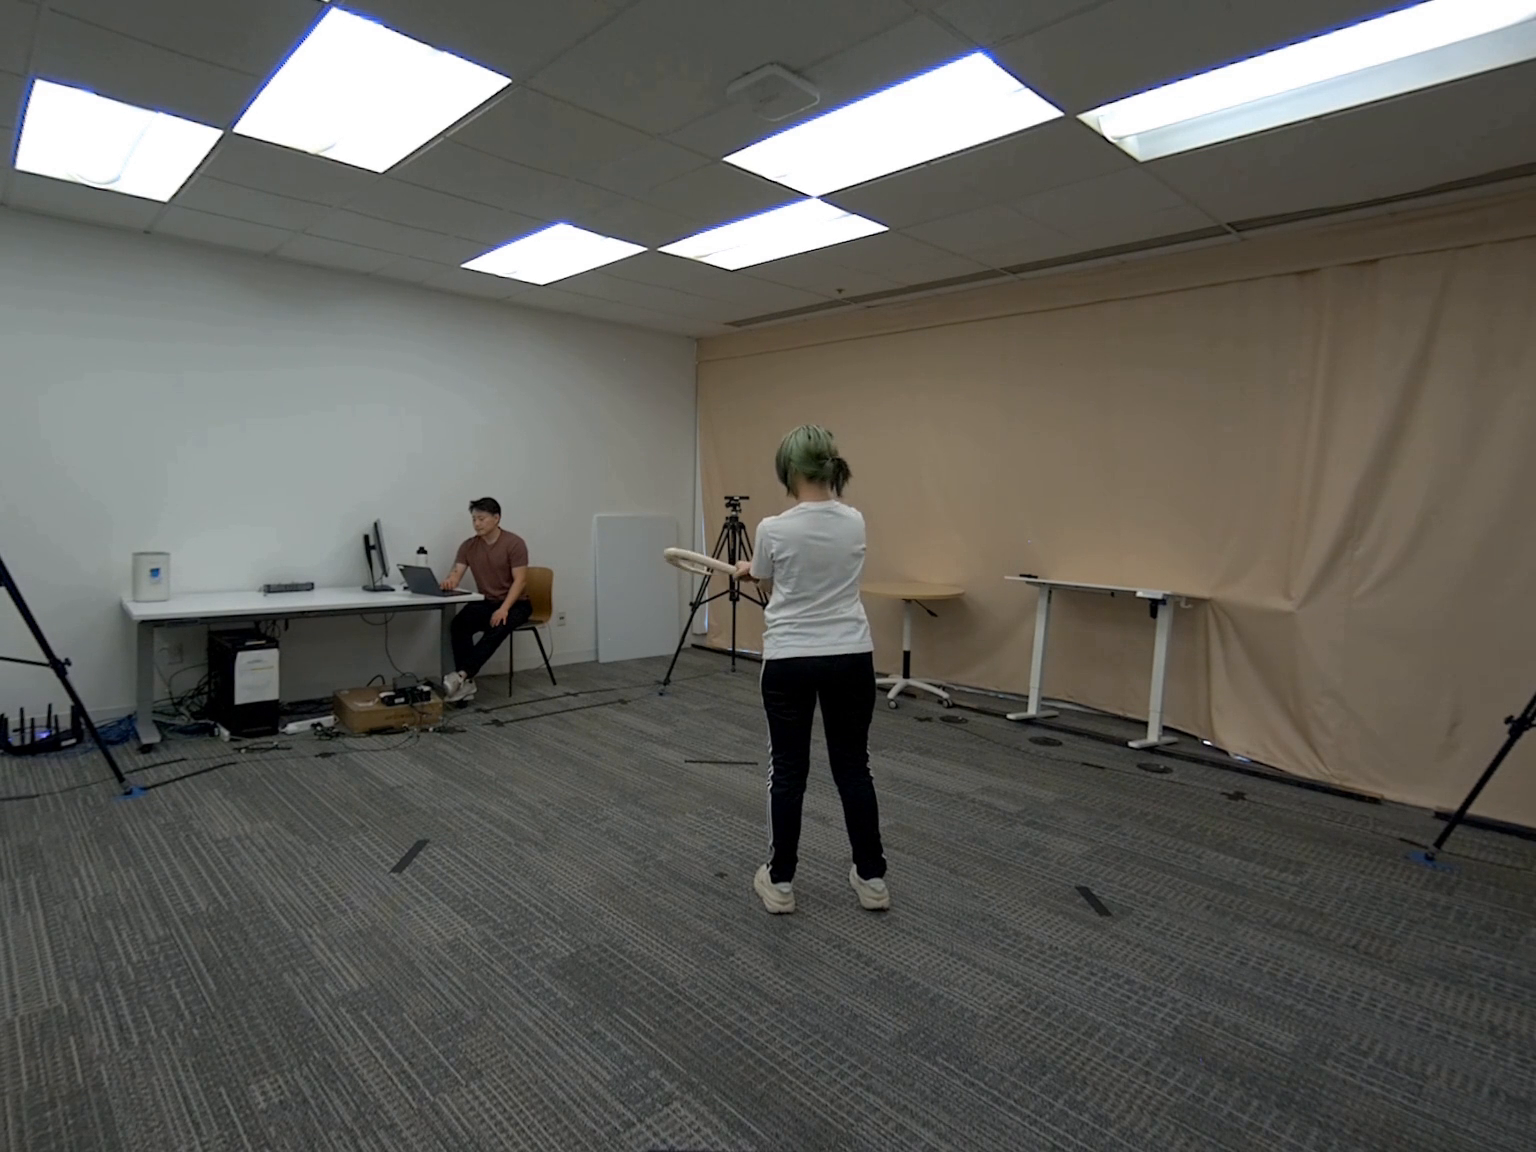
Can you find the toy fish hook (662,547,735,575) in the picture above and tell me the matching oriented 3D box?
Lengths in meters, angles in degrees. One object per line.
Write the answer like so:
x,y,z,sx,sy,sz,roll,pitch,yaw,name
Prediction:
-0.175,-0.018,3.374,0.512,0.048,0.221,18,-13,10,toy fish hook
